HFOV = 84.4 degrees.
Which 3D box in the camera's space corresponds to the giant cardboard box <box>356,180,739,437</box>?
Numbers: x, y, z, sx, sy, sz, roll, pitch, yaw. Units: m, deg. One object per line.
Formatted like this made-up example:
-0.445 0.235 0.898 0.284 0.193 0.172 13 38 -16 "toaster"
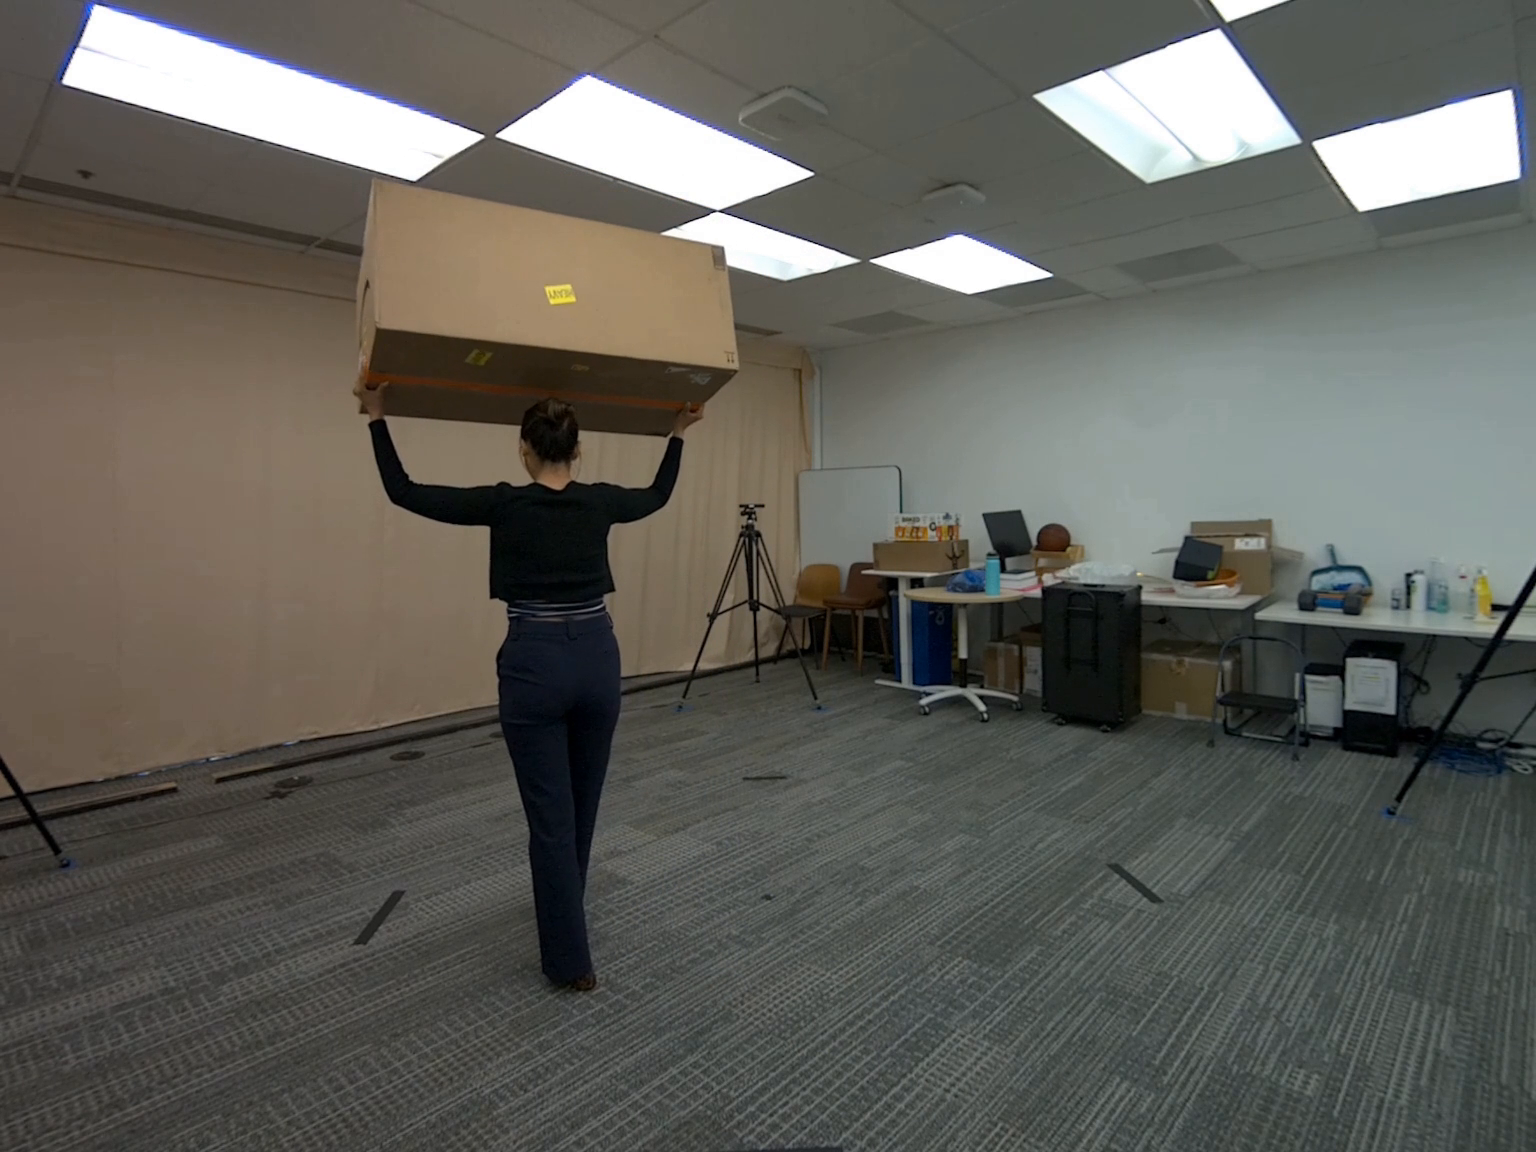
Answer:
-0.681 -0.750 2.585 0.999 0.430 0.588 0 -12 -28 "giant cardboard box"
